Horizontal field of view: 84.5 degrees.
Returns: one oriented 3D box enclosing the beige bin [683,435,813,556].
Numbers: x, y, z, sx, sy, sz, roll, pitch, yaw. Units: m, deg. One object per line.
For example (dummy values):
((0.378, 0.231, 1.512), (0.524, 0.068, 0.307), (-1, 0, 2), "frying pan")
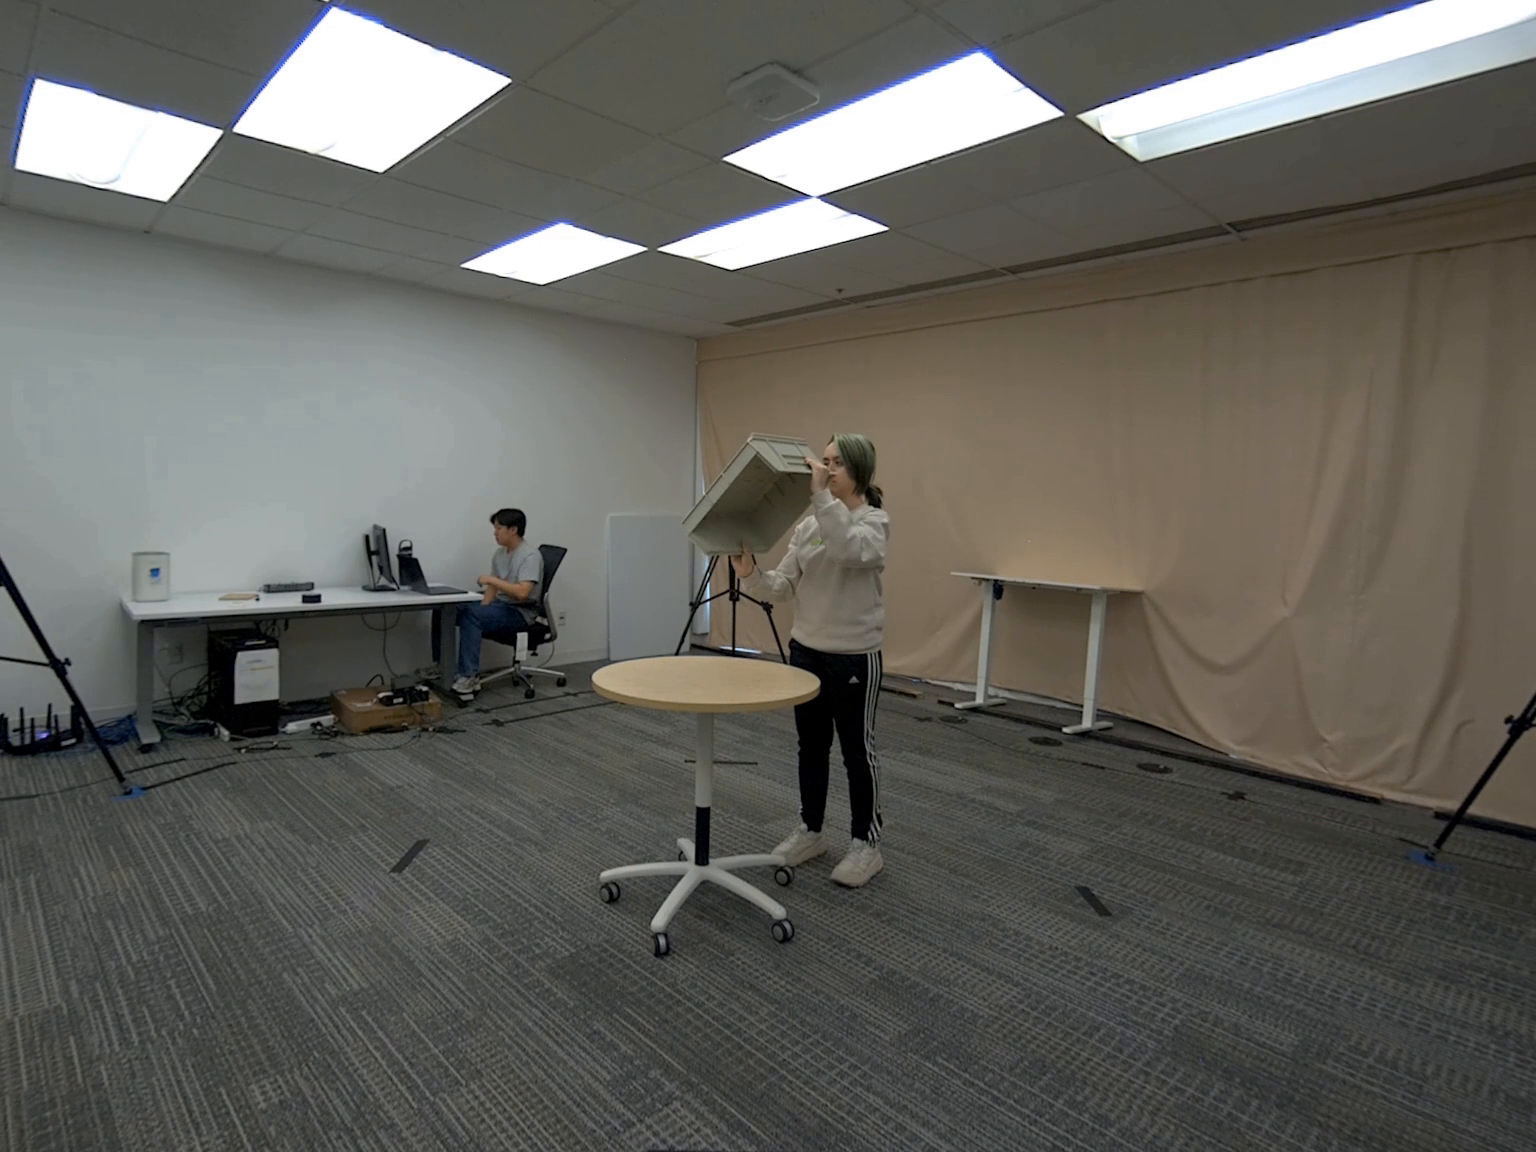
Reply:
((-0.048, -0.272, 2.935), (0.369, 0.193, 0.422), (-5, -37, -53), "beige bin")
